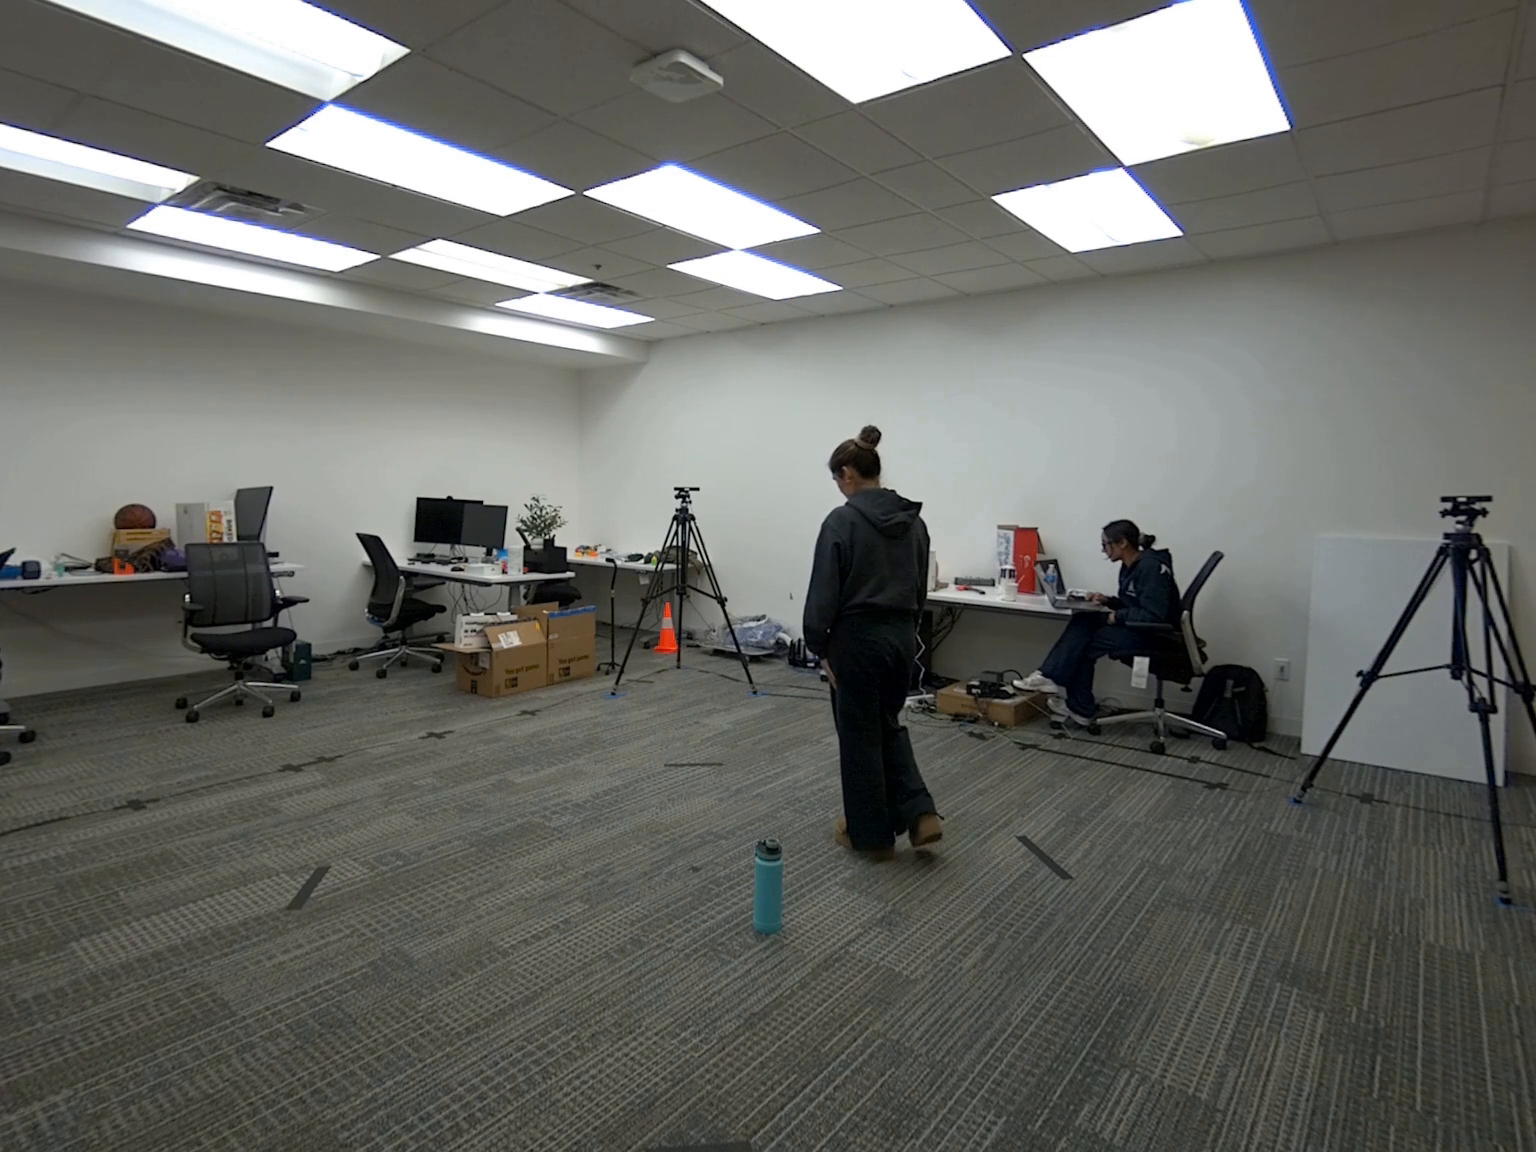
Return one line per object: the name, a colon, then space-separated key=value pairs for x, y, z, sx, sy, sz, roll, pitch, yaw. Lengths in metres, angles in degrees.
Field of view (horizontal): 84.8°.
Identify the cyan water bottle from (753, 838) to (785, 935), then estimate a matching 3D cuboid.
cyan water bottle: x=0.004 y=0.969 z=2.694 sx=0.092 sy=0.283 sz=0.092 roll=0 pitch=2 yaw=-2
